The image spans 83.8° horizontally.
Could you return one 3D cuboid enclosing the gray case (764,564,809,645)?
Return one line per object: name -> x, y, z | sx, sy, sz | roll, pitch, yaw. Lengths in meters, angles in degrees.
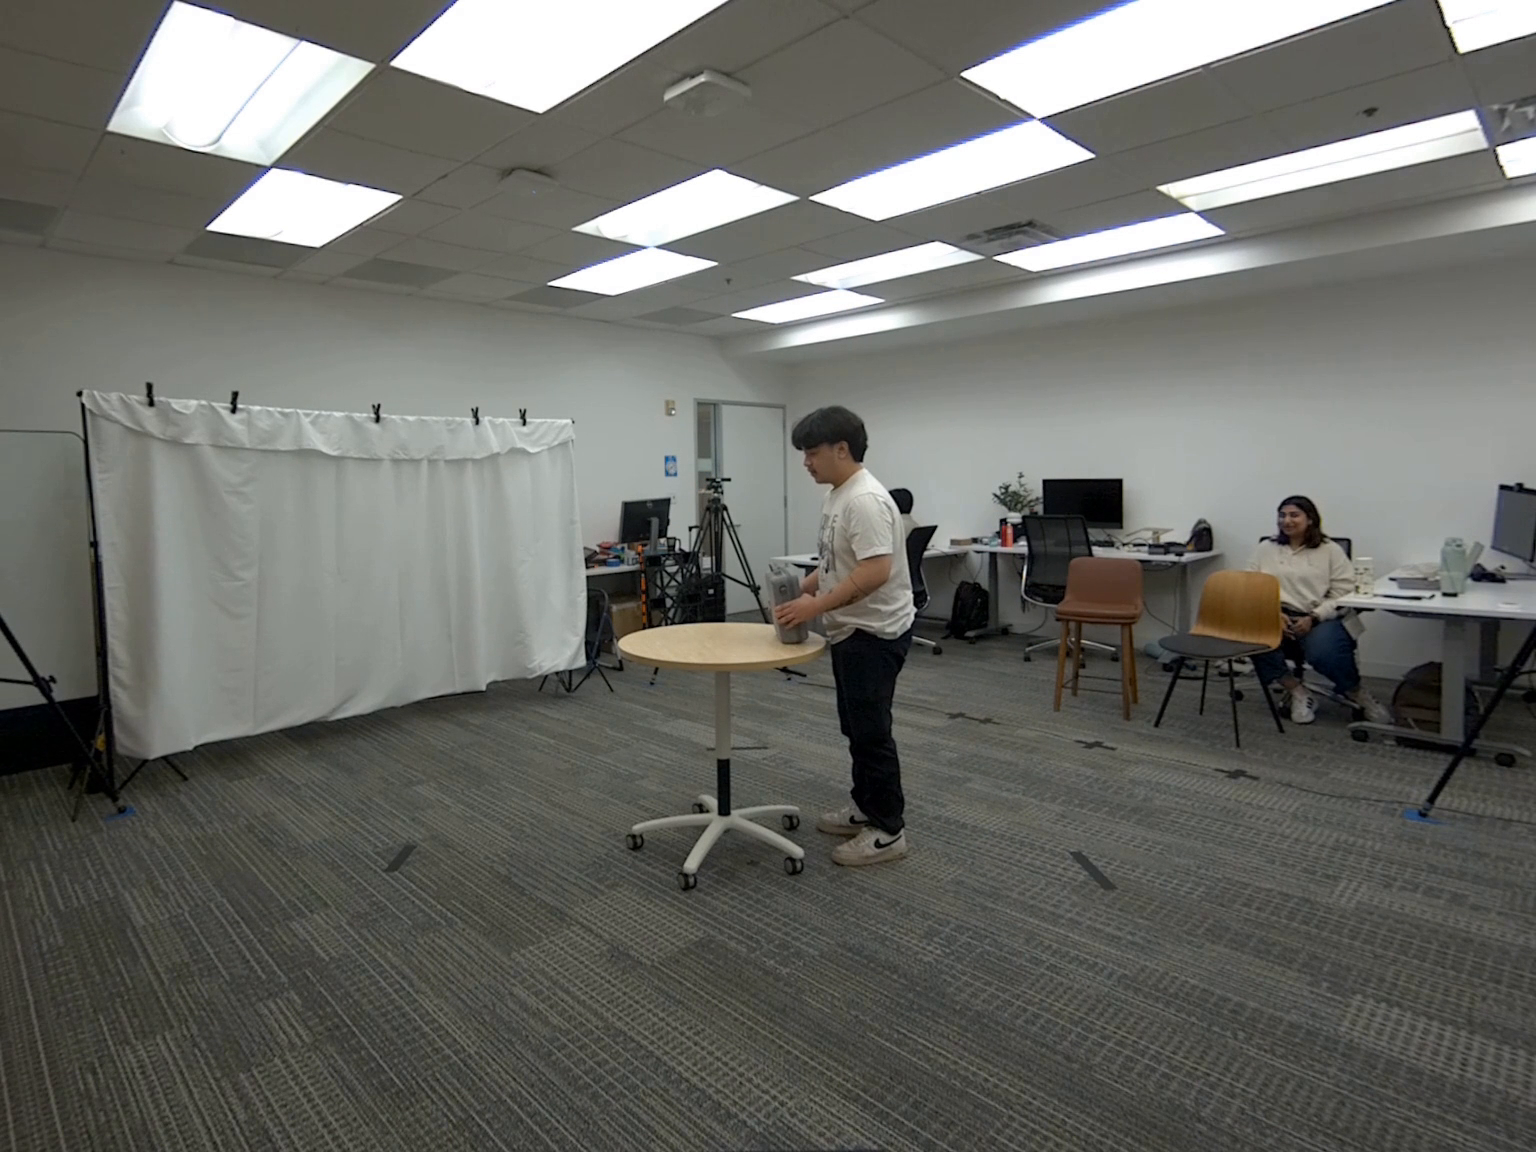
gray case -> 0.069, 0.103, 3.183 | 0.104, 0.259, 0.258 | -8, 5, -4
